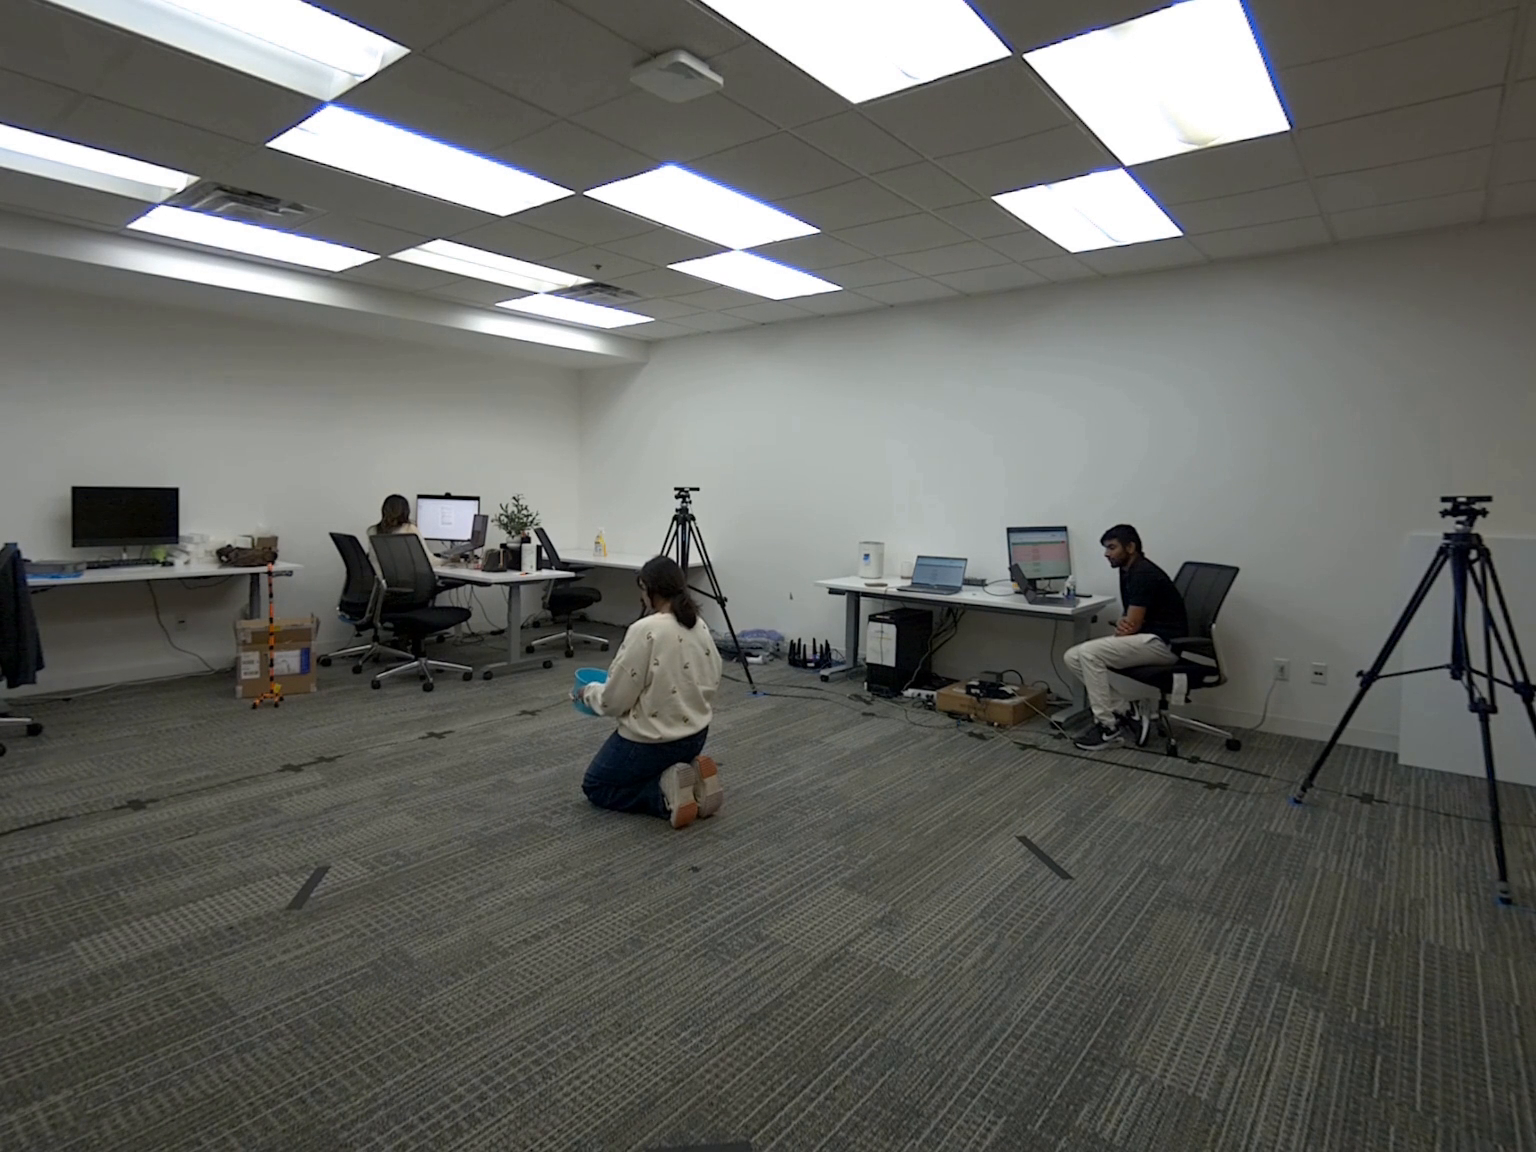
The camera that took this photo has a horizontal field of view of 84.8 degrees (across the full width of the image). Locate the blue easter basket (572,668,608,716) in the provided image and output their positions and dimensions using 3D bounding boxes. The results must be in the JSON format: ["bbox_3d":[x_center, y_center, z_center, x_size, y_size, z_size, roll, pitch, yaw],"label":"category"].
[{"bbox_3d":[-0.826,0.547,4.015,0.243,0.155,0.246,14,9,-4],"label":"blue easter basket"}]
